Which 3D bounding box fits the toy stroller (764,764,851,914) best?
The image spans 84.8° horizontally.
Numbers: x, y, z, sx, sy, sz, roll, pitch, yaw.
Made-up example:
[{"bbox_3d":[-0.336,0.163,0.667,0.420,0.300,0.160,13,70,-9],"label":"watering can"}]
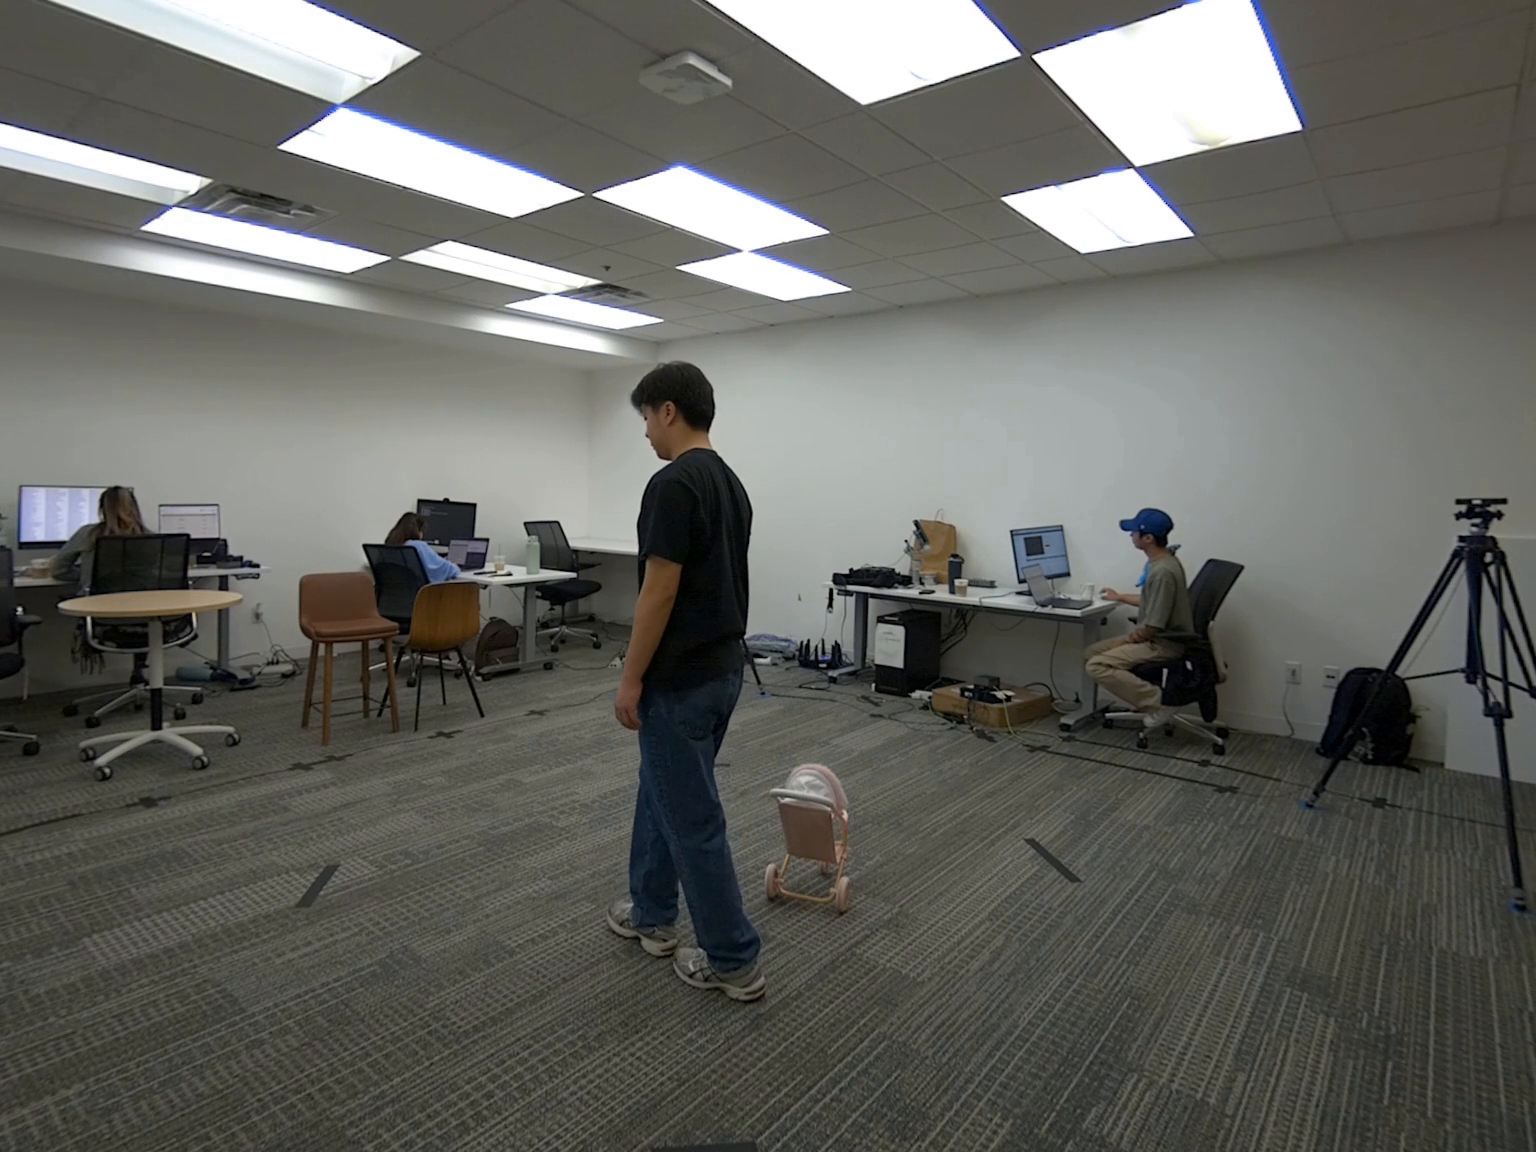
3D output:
[{"bbox_3d":[0.150,0.871,2.917,0.288,0.525,0.340,3,20,22],"label":"toy stroller"}]
